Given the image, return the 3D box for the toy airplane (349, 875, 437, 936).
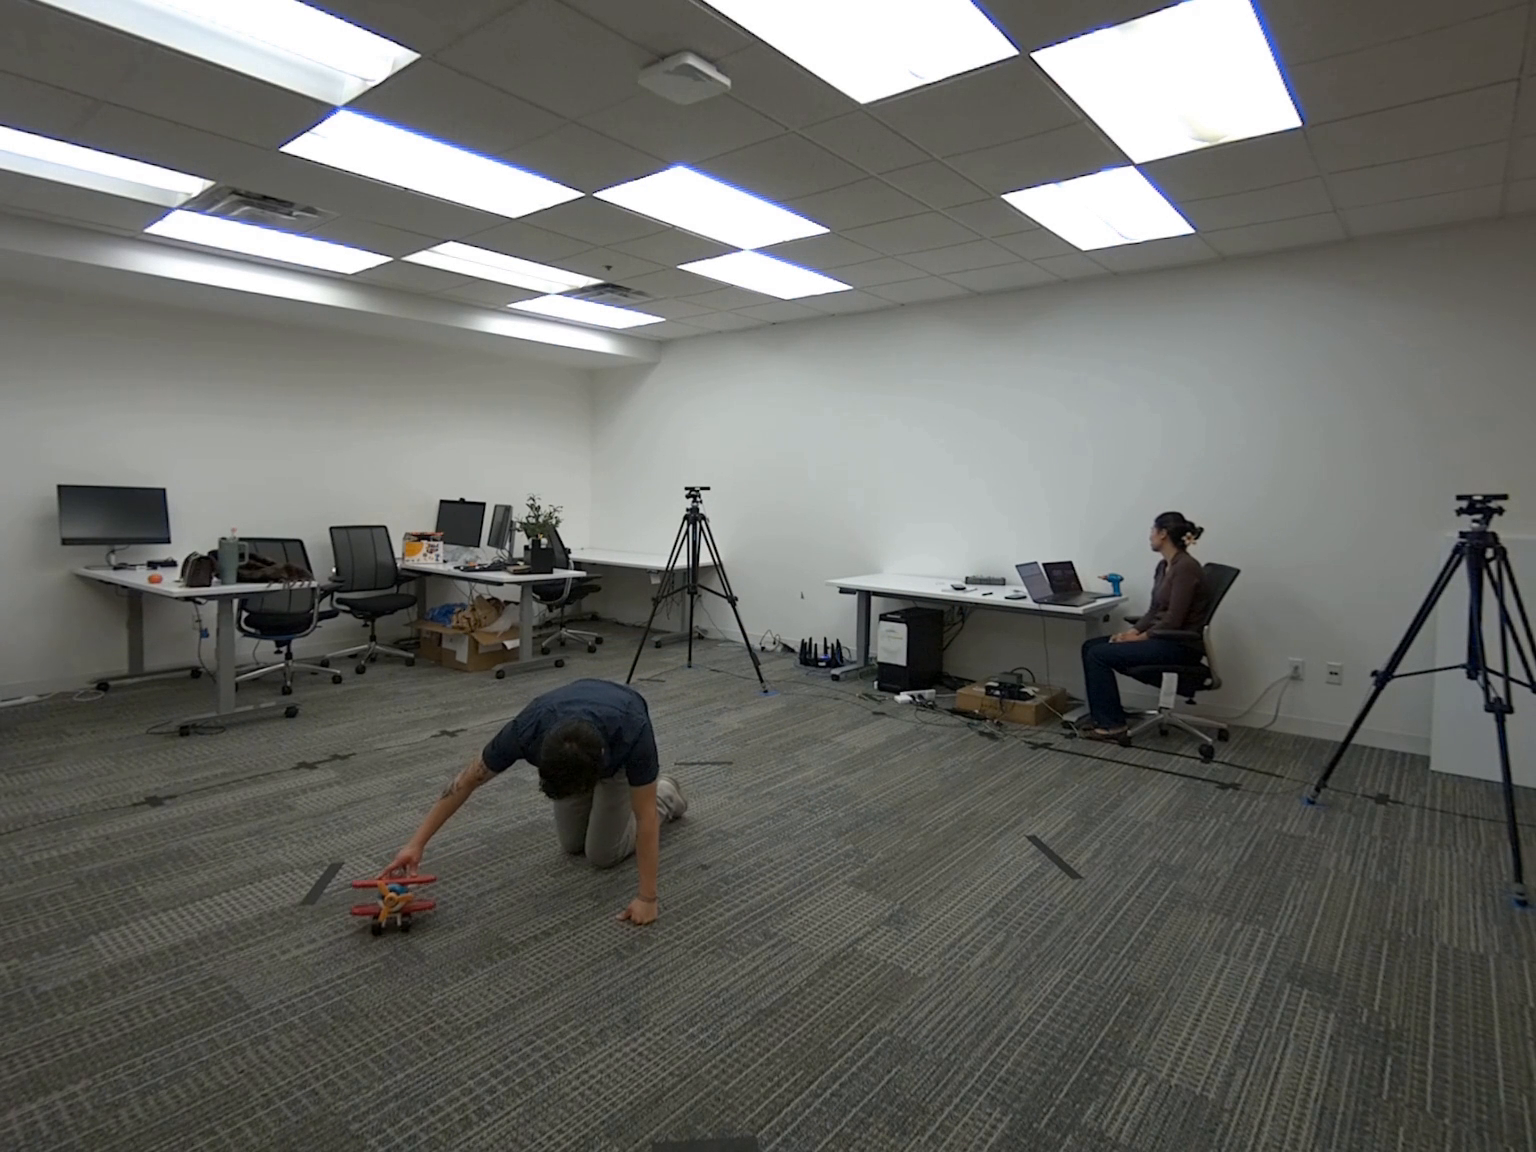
[{"bbox_3d":[-1.218,1.023,2.709,0.243,0.156,0.268,-3,8,-43],"label":"toy airplane"}]
